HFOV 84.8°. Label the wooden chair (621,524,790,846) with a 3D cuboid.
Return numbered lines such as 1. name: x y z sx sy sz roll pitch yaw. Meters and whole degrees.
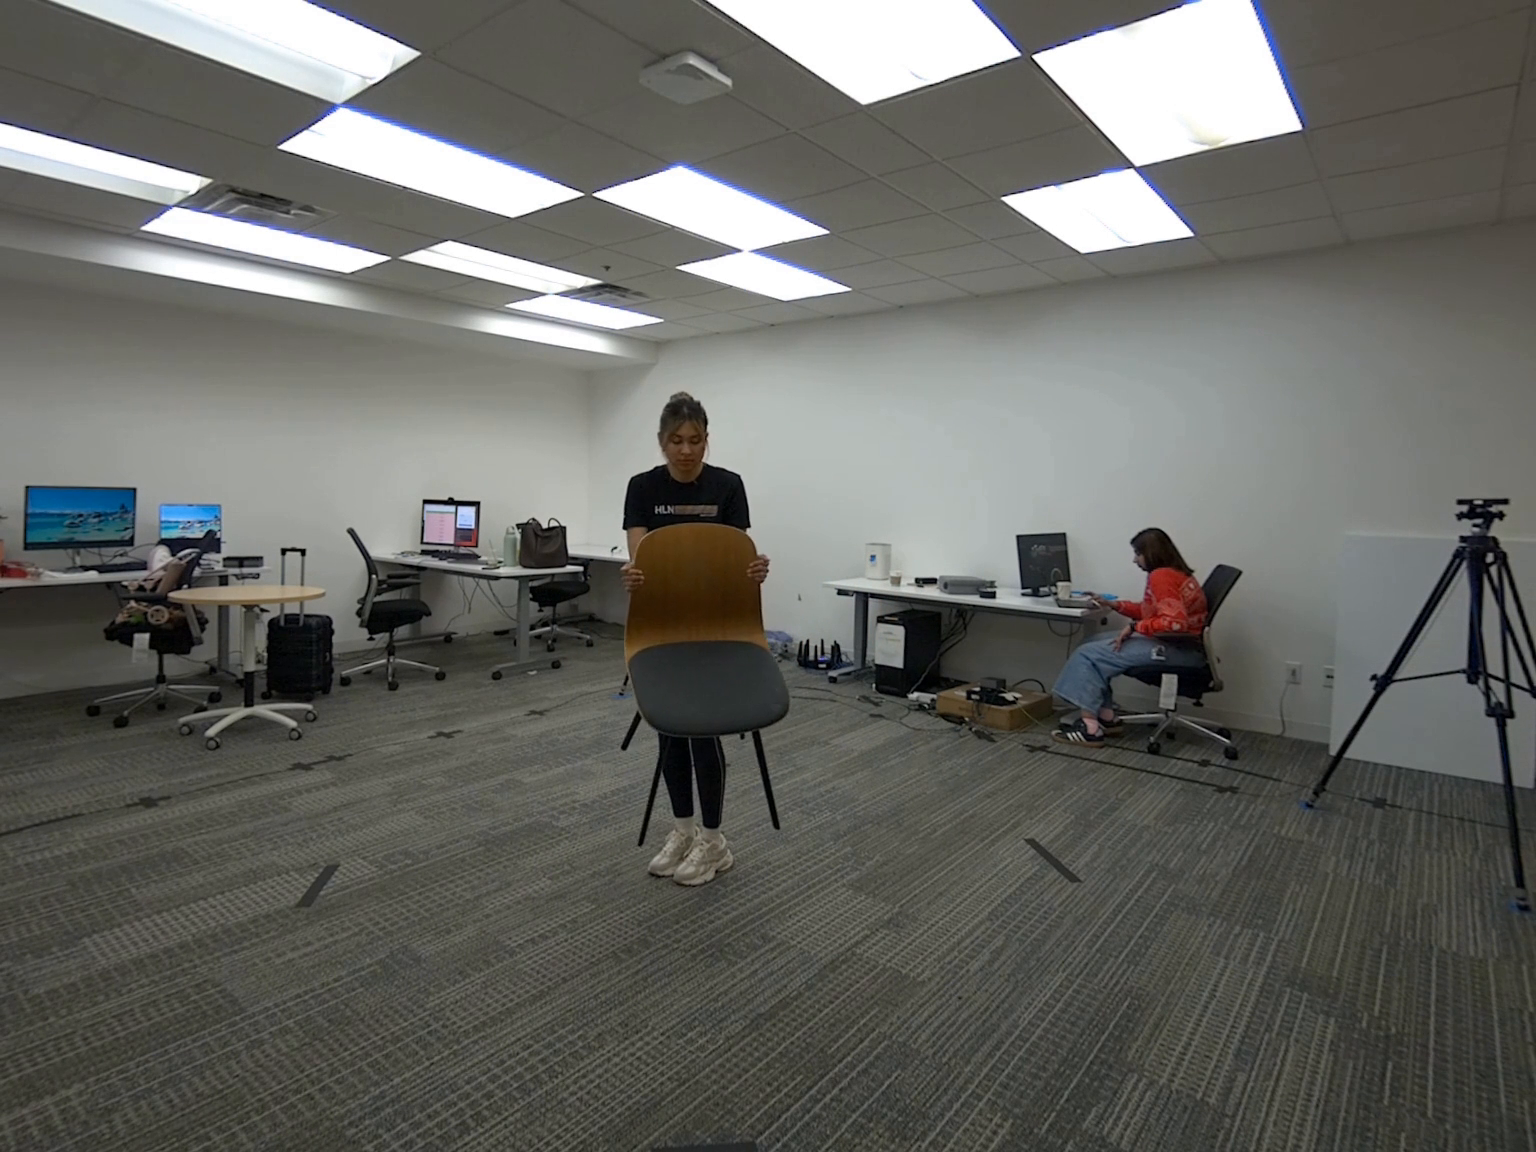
1. wooden chair: -0.202 0.337 2.650 0.471 0.861 0.540 -1 23 -14
